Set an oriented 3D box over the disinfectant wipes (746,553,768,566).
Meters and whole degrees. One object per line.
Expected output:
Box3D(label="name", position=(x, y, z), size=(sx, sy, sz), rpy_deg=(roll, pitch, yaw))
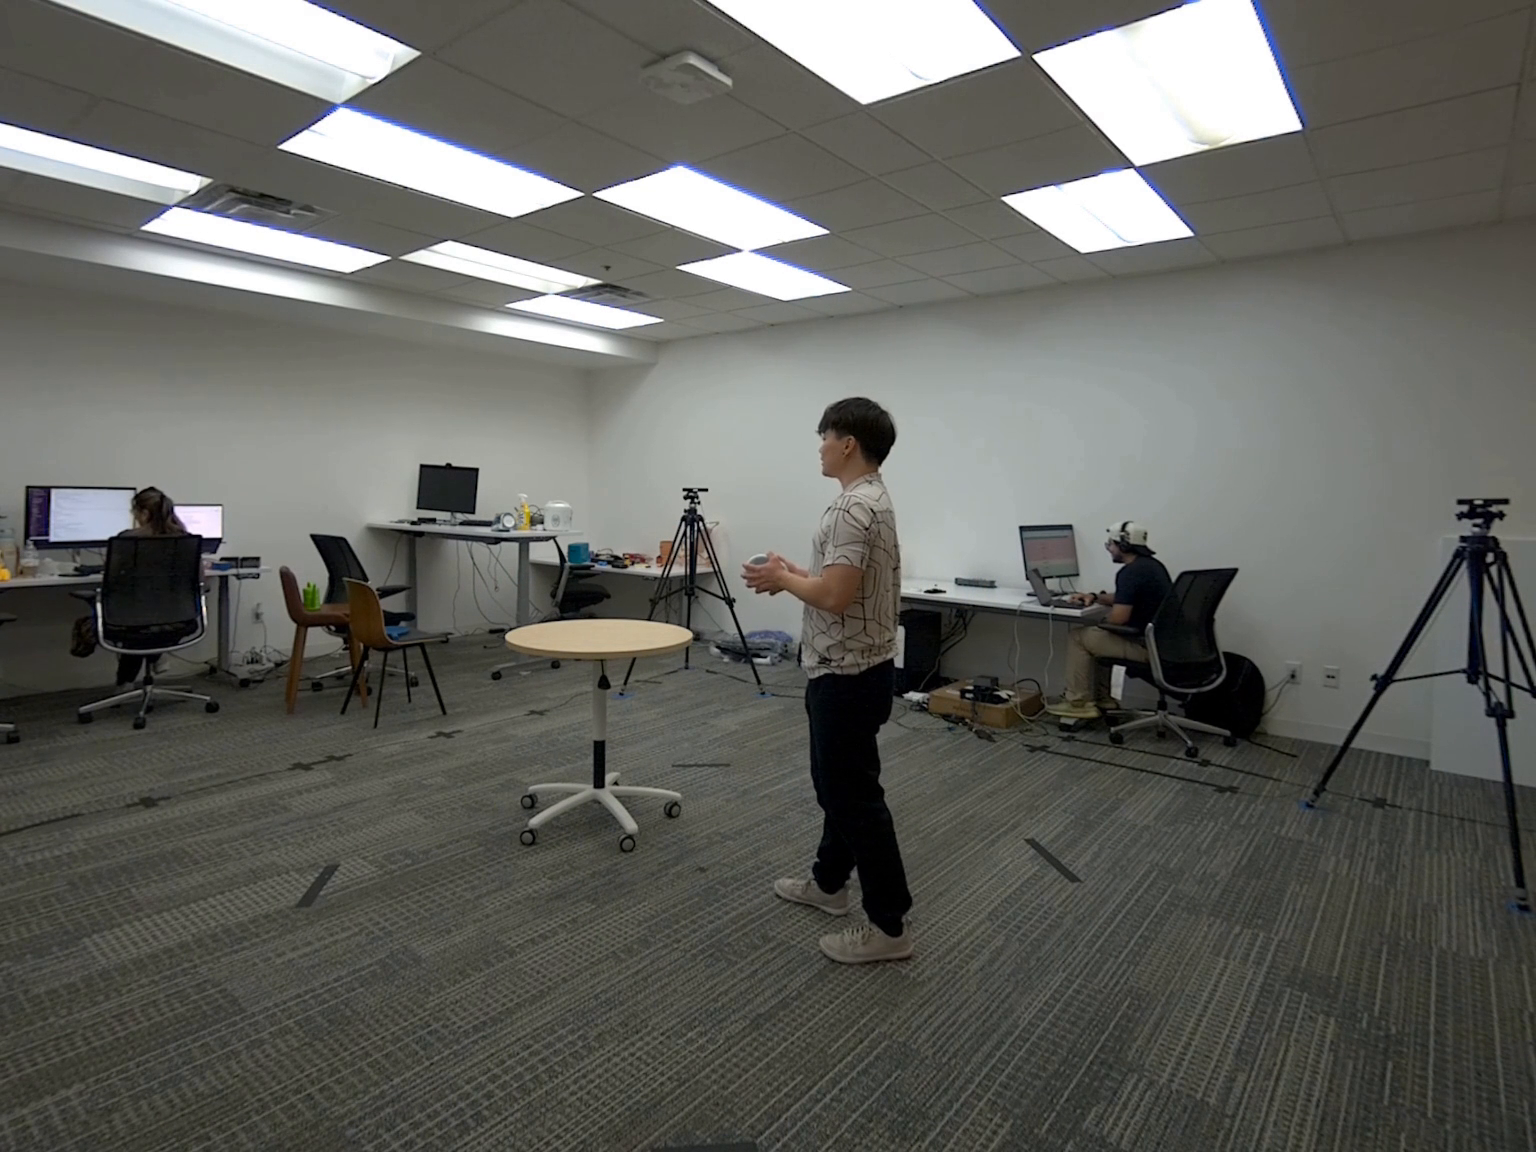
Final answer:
Box3D(label="disinfectant wipes", position=(-0.002, -0.001, 2.709), size=(0.119, 0.118, 0.213), rpy_deg=(2, -2, 13))
